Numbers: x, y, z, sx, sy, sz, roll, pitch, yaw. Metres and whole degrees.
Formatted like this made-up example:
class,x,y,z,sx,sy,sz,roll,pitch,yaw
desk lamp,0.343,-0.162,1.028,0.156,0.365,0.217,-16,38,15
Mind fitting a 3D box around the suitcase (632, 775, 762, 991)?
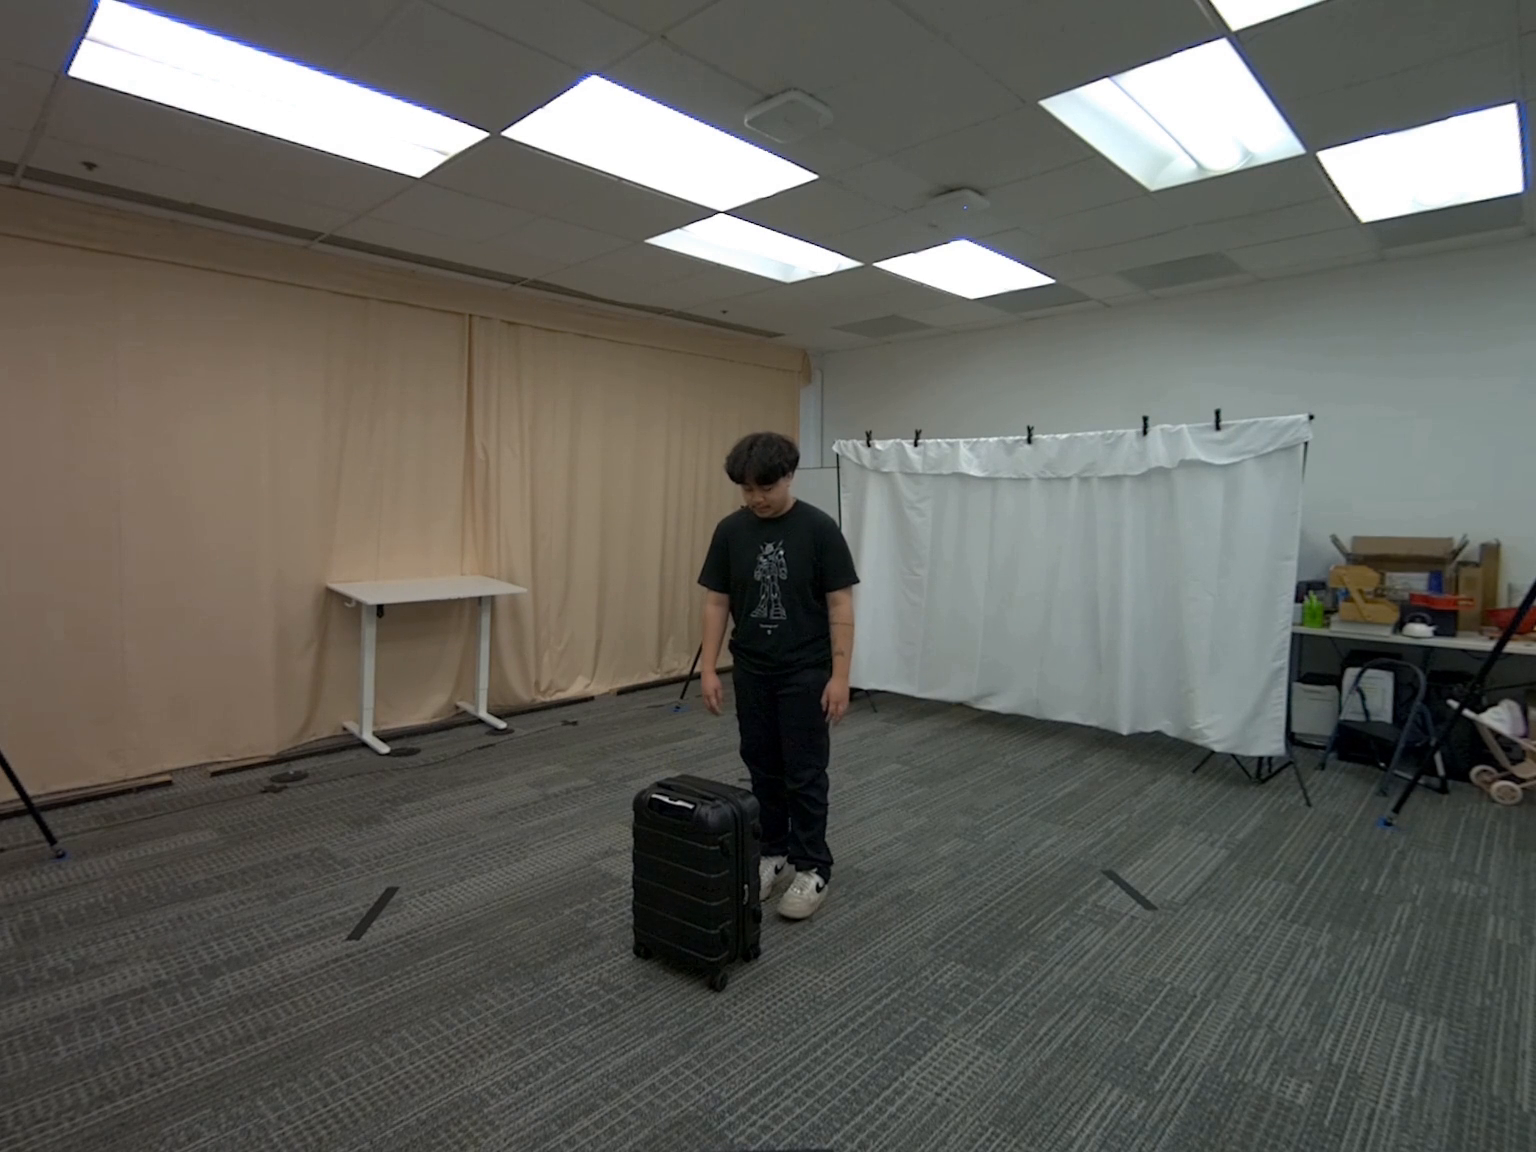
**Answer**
class,x,y,z,sx,sy,sz,roll,pitch,yaw
suitcase,-0.221,0.906,2.567,0.387,0.548,0.241,3,5,36
